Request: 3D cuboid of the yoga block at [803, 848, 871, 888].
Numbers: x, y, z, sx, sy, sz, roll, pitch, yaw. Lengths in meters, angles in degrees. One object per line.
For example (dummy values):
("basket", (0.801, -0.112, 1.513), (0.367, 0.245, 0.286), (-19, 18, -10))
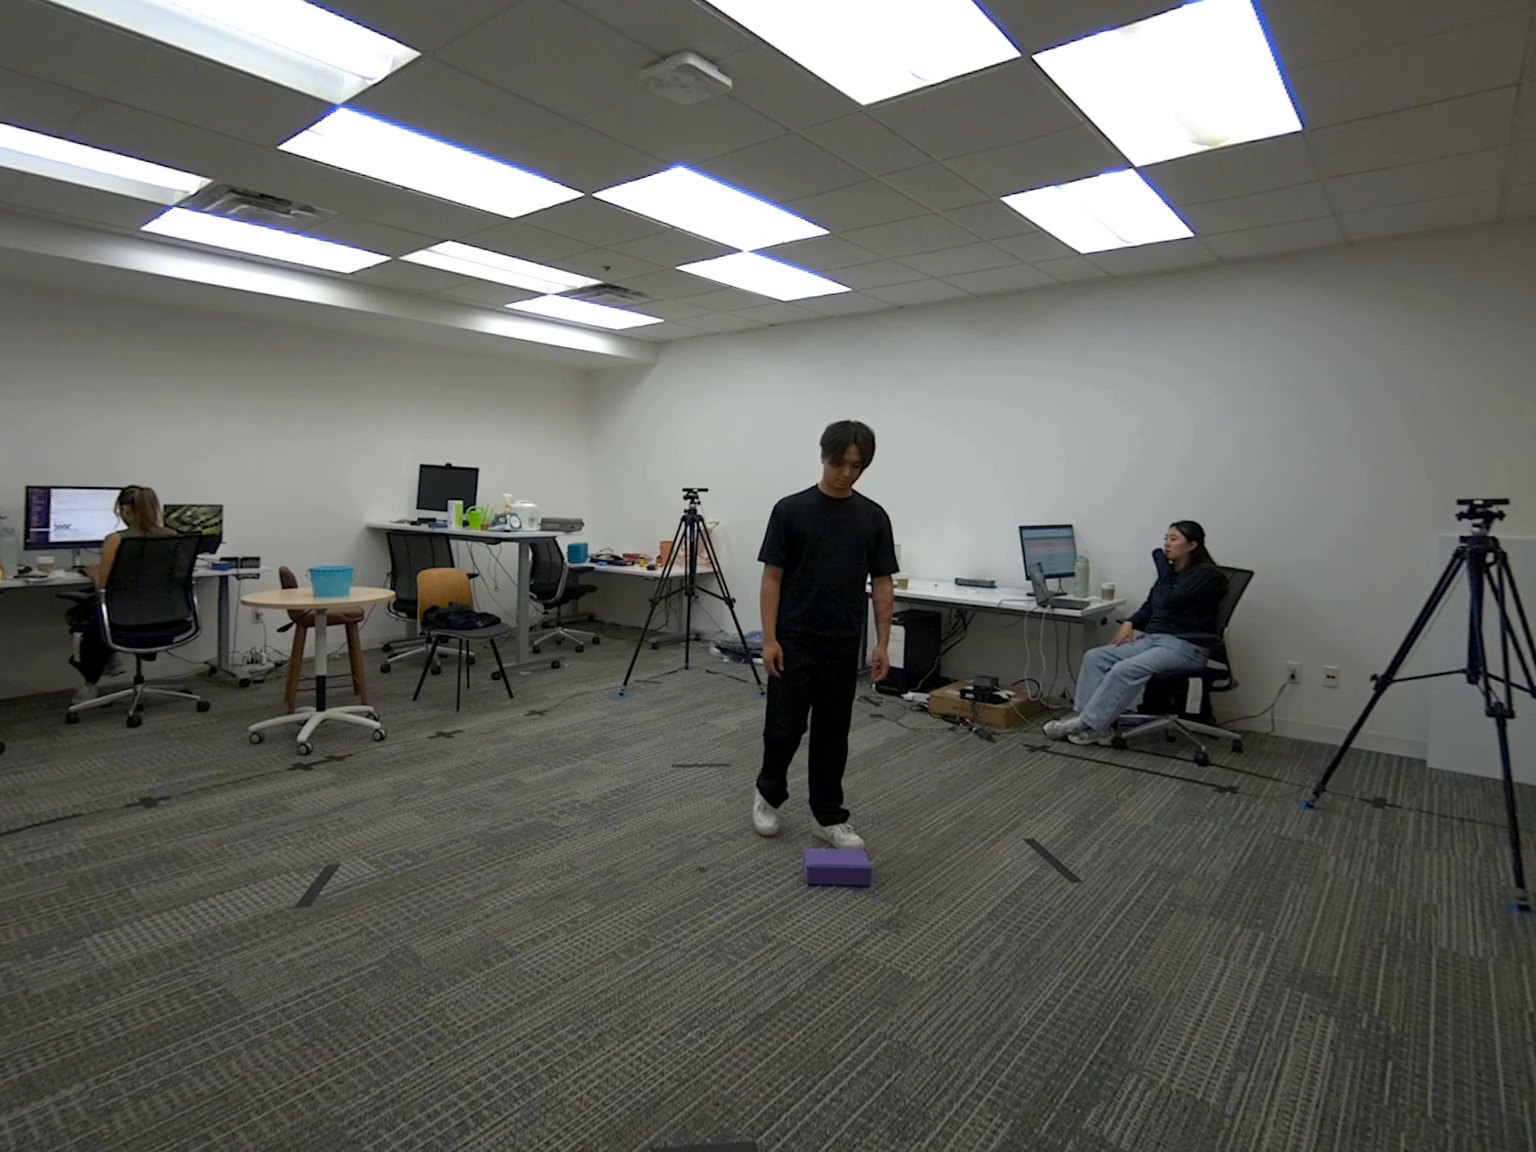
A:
("yoga block", (0.243, 1.042, 3.069), (0.229, 0.076, 0.150), (0, 5, -2))
